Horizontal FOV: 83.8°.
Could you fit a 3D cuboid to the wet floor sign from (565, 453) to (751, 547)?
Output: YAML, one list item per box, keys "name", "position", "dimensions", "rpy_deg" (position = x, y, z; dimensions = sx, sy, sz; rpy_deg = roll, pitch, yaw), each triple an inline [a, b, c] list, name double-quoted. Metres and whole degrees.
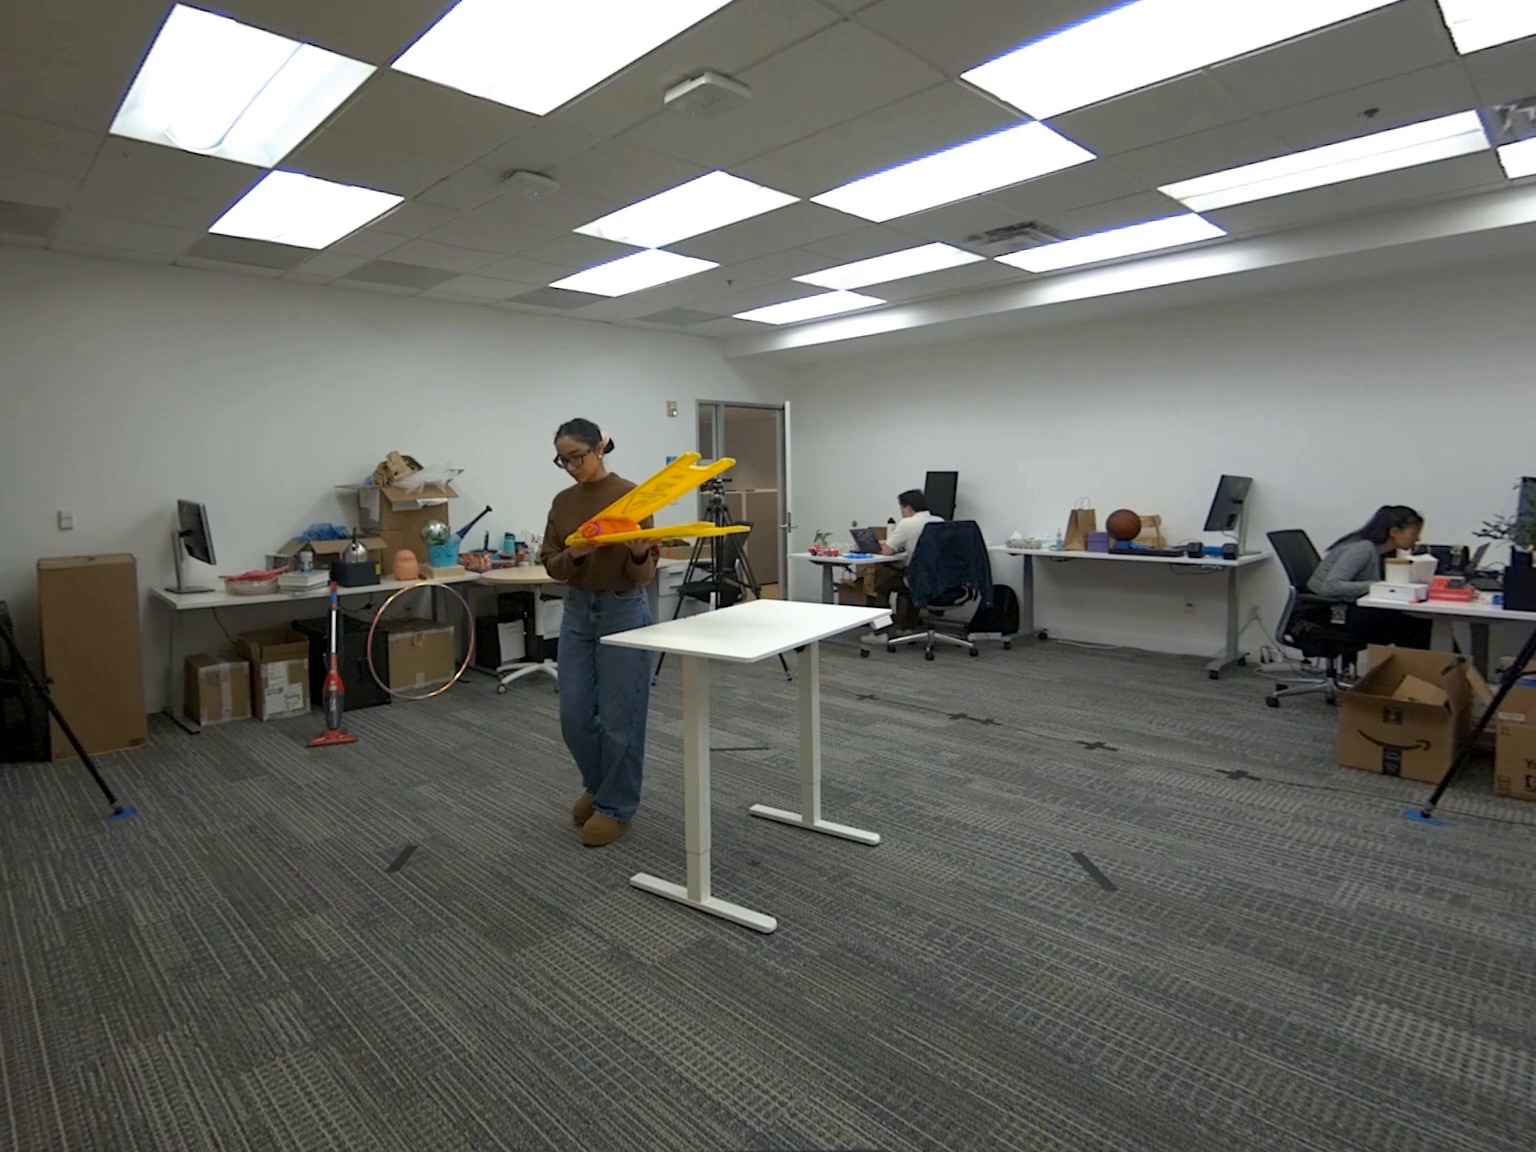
- name: "wet floor sign"
  position: [-0.423, -0.194, 2.987]
  dimensions: [0.658, 0.292, 0.274]
  rpy_deg: [-14, -9, 32]
